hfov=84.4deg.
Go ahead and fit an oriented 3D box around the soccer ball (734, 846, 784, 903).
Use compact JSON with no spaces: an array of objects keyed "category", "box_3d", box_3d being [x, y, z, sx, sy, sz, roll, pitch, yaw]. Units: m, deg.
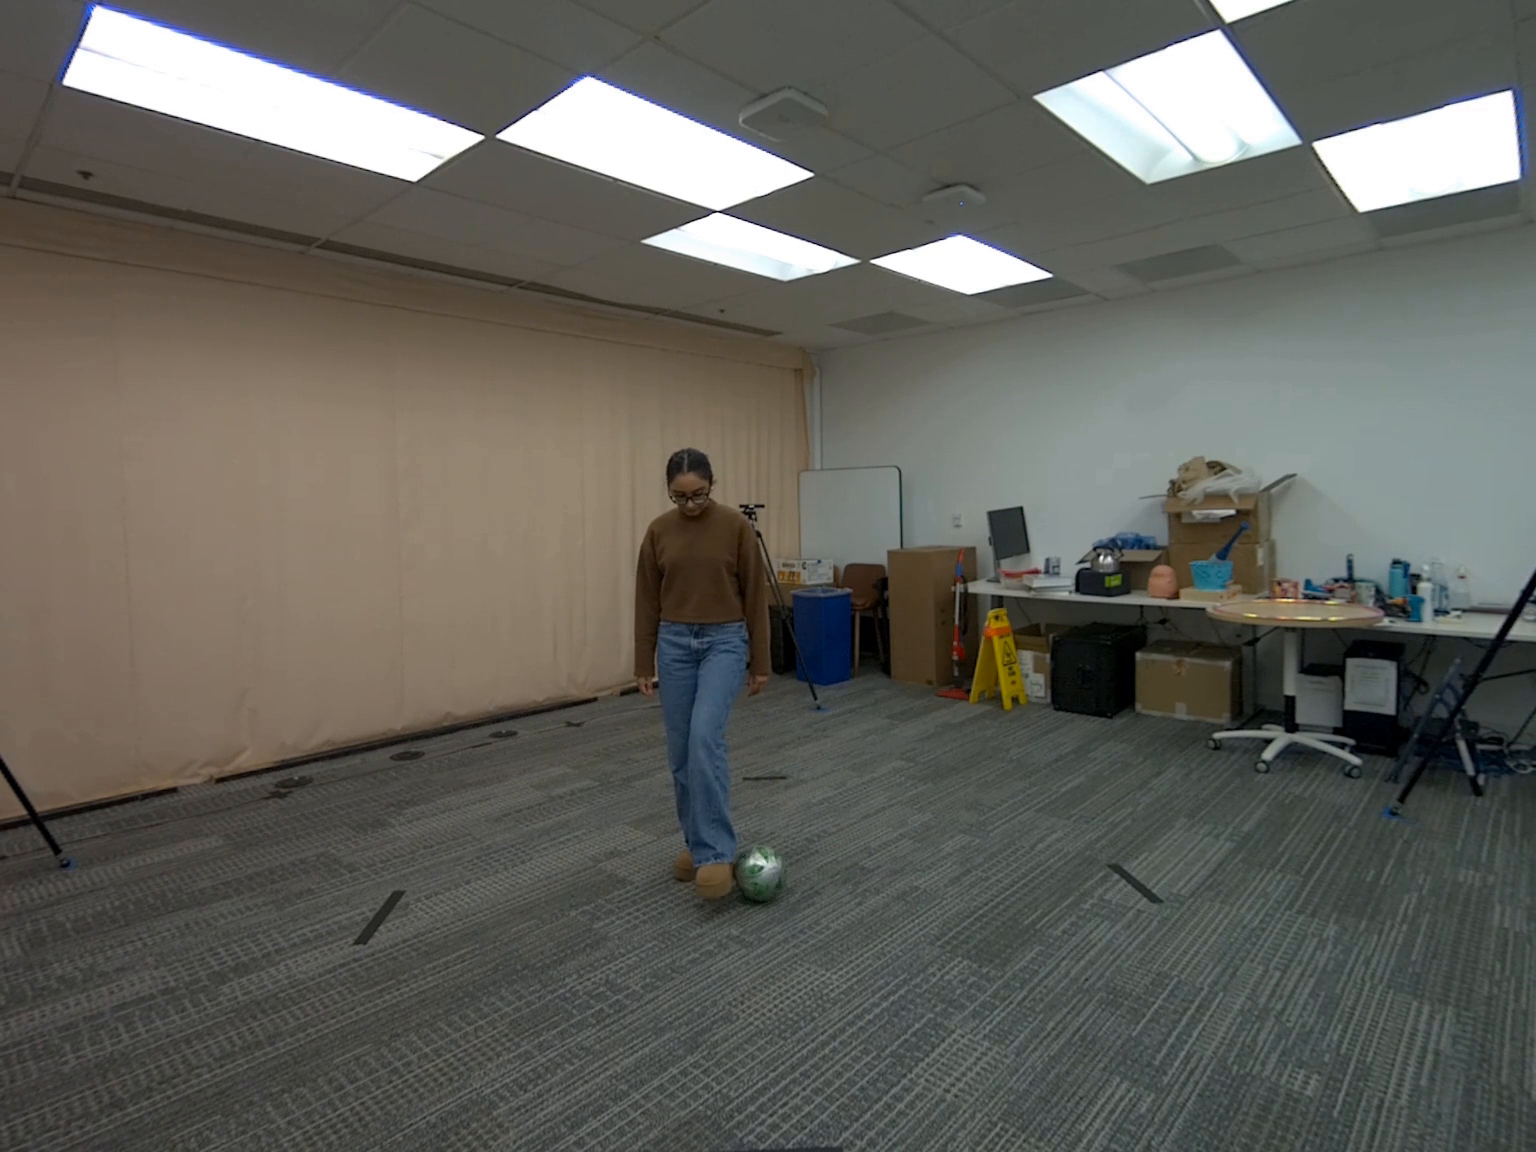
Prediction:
[{"category":"soccer ball","box_3d":[-0.015,1.050,2.960,0.187,0.187,0.188,-1,4,-2]}]
